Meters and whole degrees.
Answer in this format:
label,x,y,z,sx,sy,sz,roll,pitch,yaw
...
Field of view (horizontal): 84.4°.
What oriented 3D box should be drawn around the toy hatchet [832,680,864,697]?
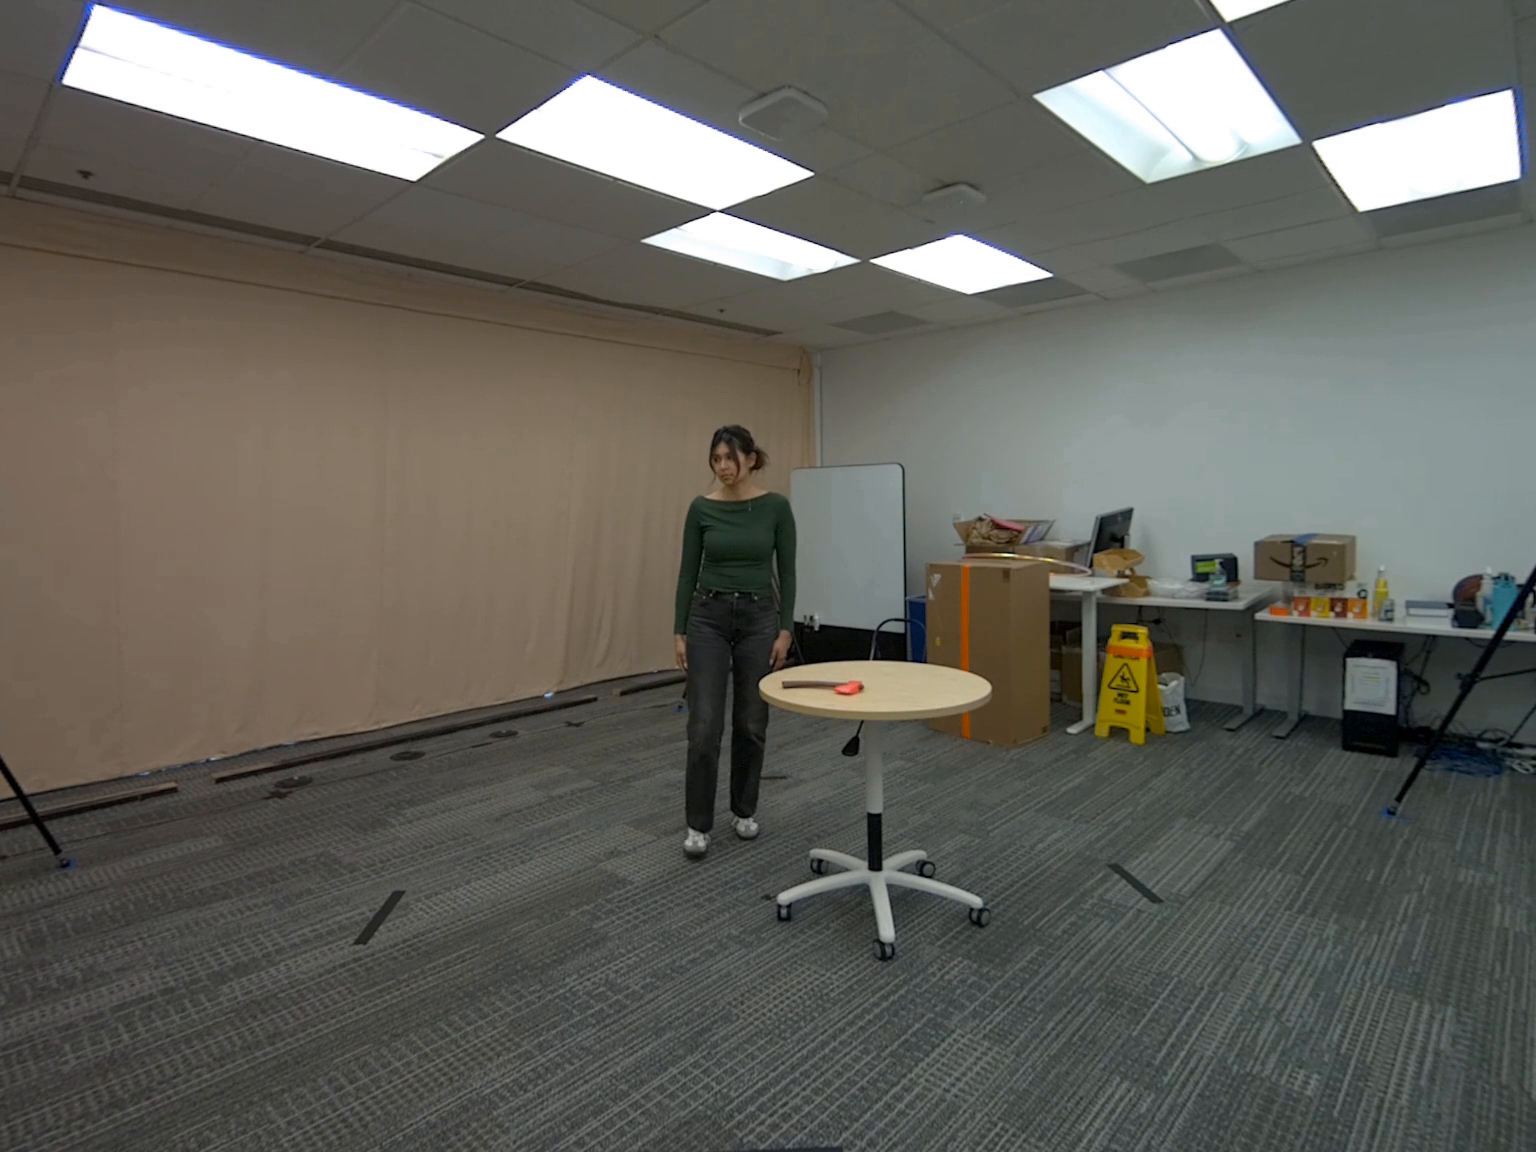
label,x,y,z,sx,sy,sz,roll,pitch,yaw
toy hatchet,0.184,0.367,2.742,0.272,0.029,0.131,-3,9,7
